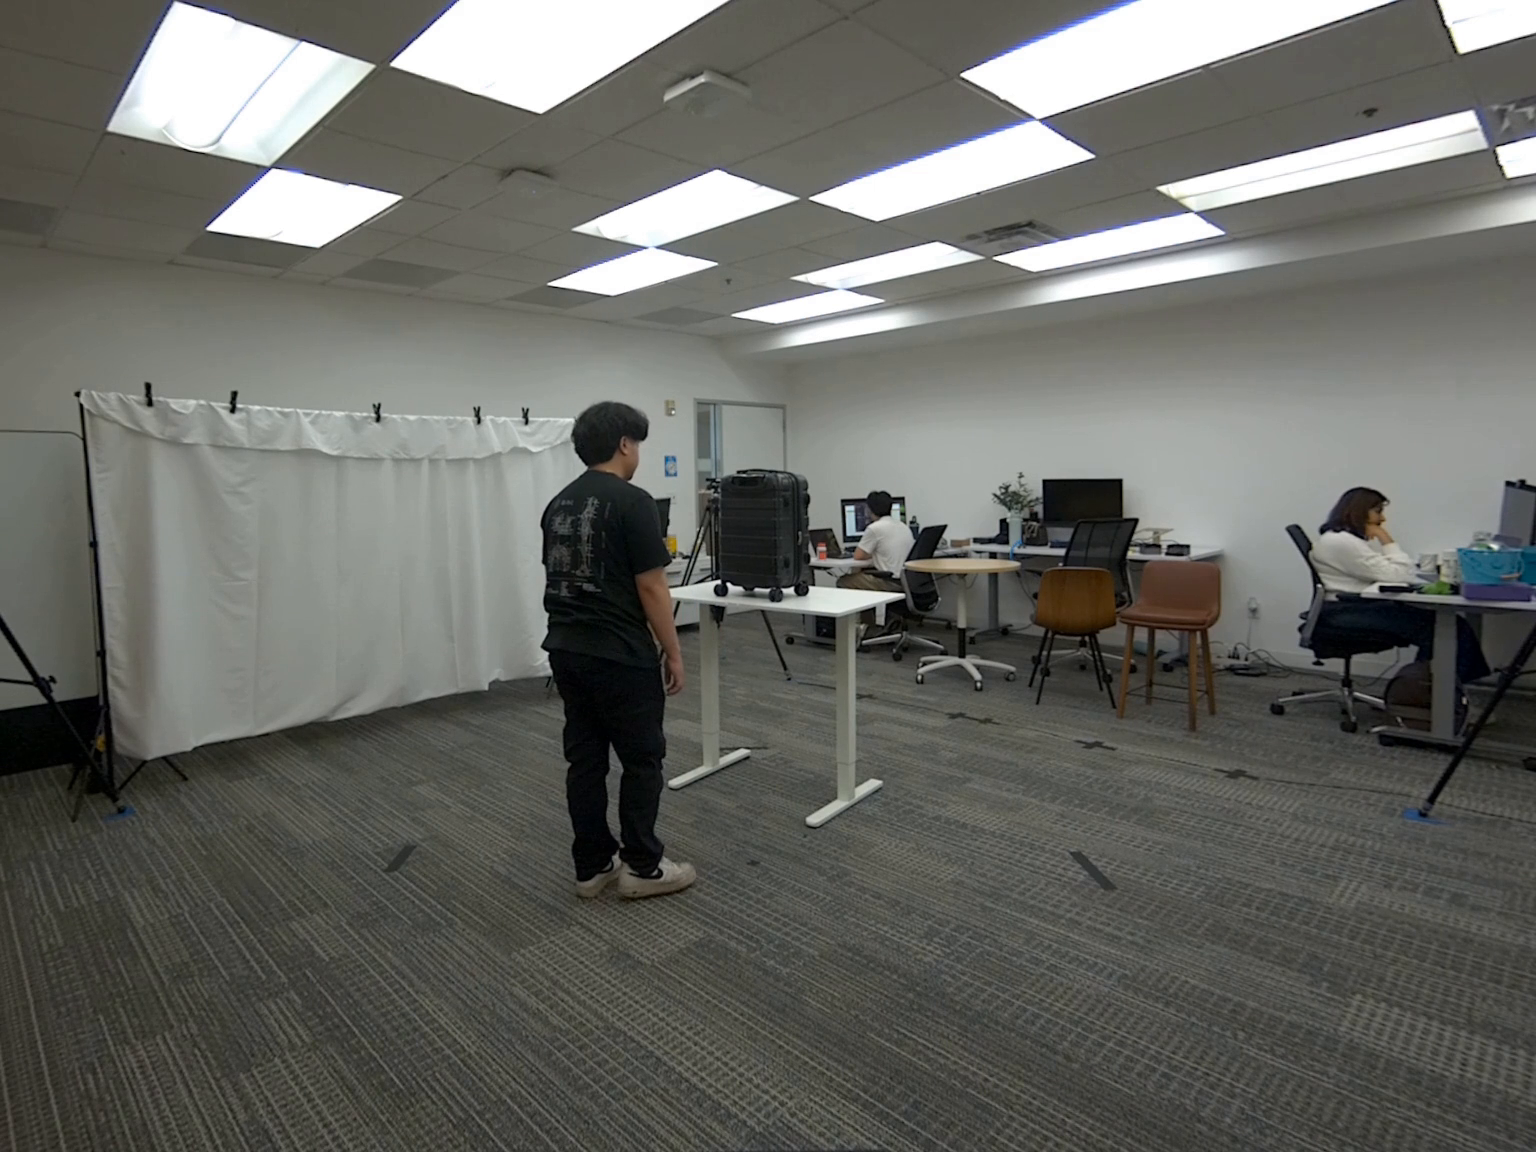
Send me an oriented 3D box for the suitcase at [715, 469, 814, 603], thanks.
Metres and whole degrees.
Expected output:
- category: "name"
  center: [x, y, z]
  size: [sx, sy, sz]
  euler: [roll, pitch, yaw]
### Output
- category: "suitcase"
  center: [-0.019, -0.190, 3.739]
  size: [0.386, 0.548, 0.242]
  euler: [3, 4, 37]
